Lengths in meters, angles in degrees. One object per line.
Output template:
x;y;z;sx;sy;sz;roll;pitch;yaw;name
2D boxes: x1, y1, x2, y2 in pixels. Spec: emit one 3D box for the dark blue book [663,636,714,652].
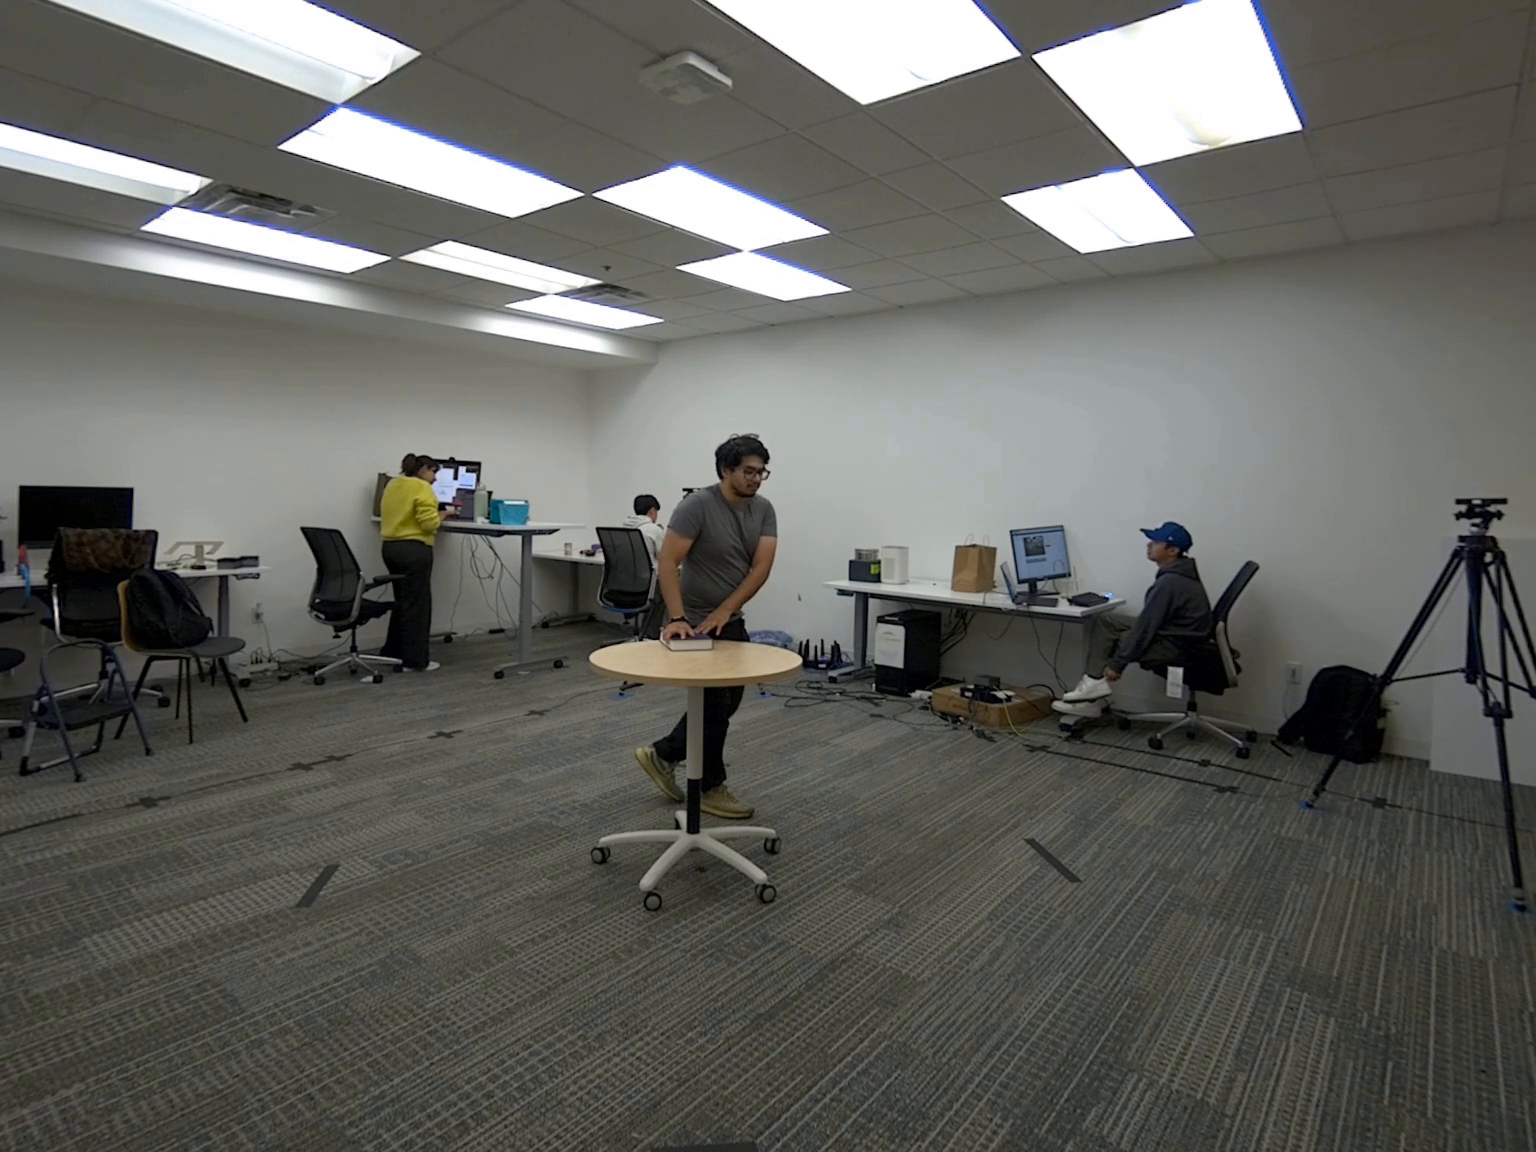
-0.328;0.246;3.313;0.161;0.045;0.250;0;5;-16;dark blue book
